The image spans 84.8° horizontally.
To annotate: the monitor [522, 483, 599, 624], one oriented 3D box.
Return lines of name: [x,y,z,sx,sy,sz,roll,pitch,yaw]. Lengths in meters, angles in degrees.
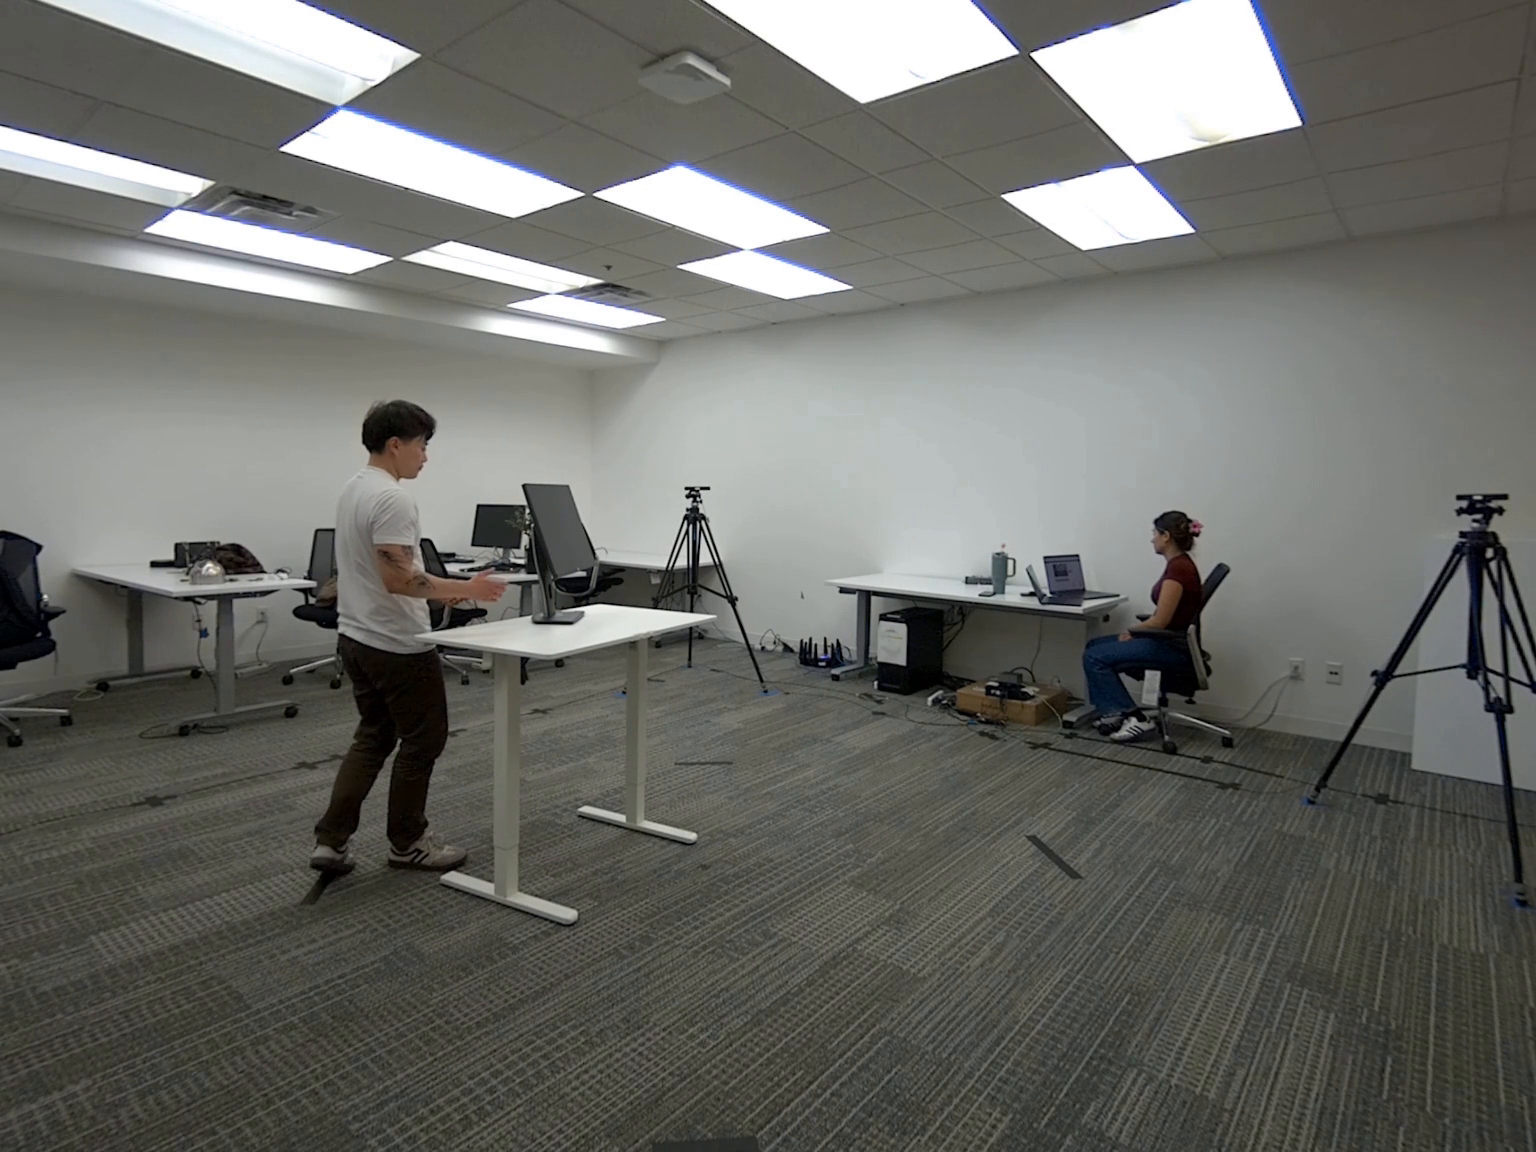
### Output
monitor: [-0.833,-0.089,3.240,0.187,0.521,0.540,-3,4,0]
